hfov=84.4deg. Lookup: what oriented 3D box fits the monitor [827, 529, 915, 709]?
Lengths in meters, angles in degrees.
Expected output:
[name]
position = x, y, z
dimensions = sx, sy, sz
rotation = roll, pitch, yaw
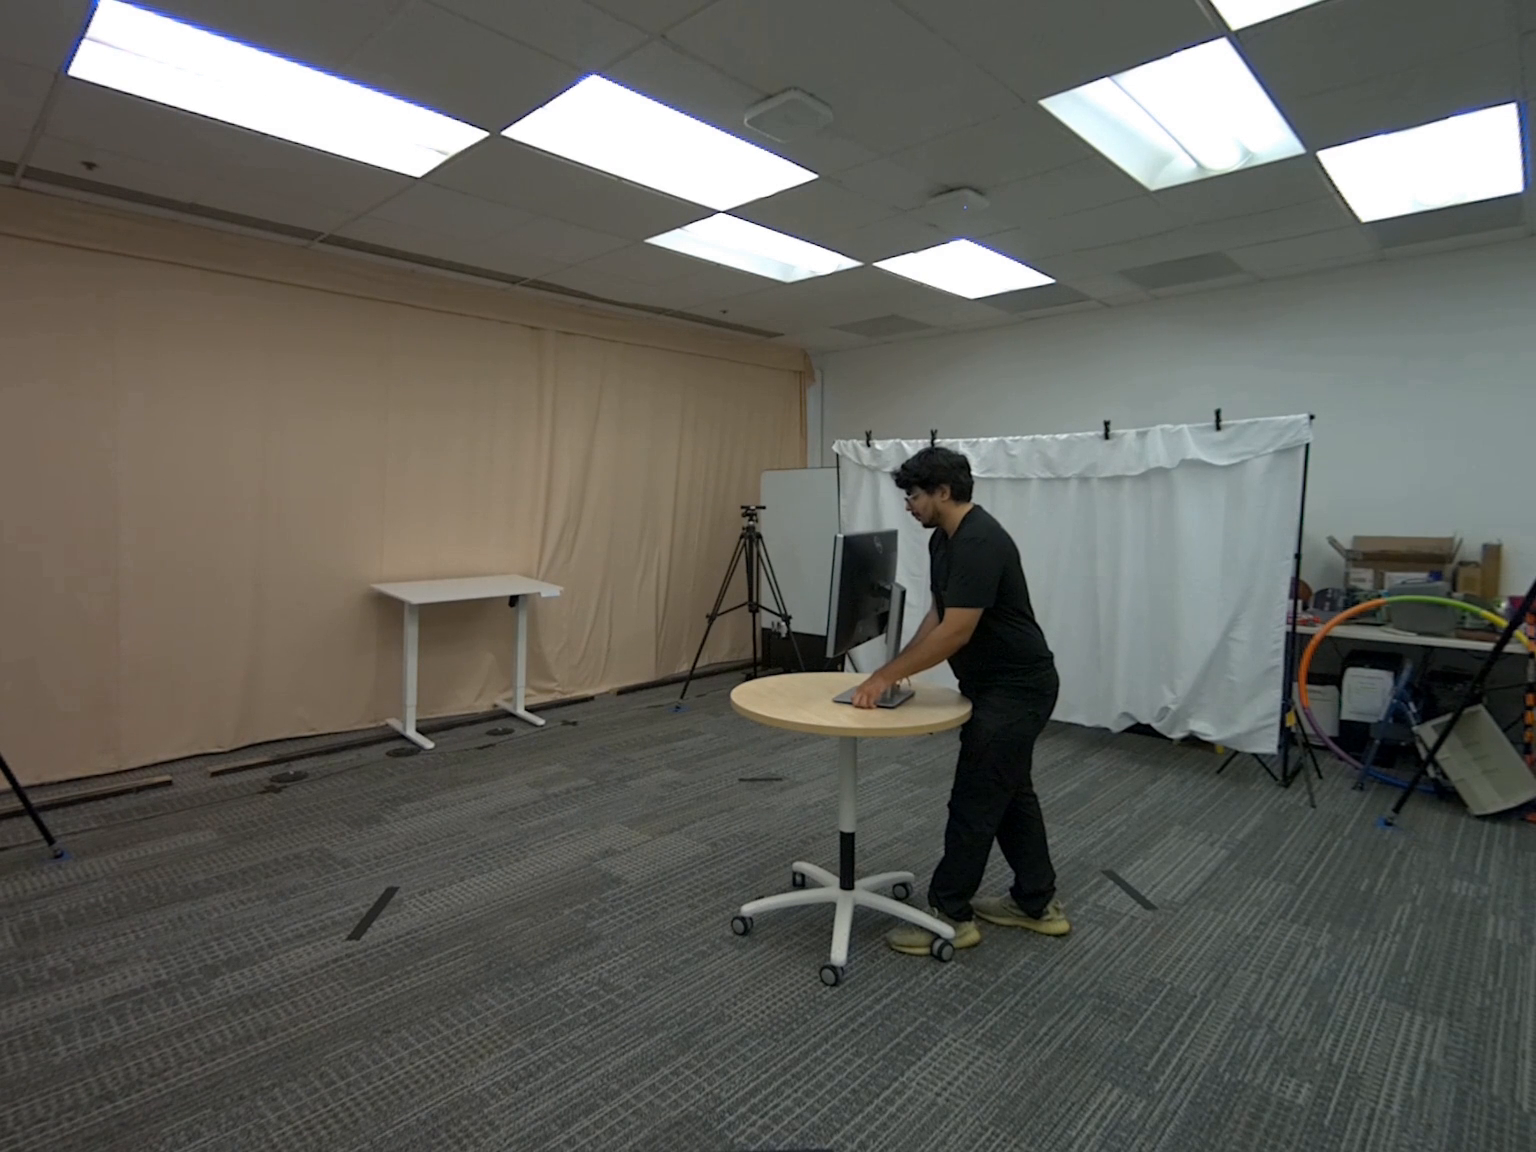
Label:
[monitor]
position = 0.375, 0.133, 2.668
dimensions = 0.216, 0.553, 0.551
rotation = 2, 4, 26
